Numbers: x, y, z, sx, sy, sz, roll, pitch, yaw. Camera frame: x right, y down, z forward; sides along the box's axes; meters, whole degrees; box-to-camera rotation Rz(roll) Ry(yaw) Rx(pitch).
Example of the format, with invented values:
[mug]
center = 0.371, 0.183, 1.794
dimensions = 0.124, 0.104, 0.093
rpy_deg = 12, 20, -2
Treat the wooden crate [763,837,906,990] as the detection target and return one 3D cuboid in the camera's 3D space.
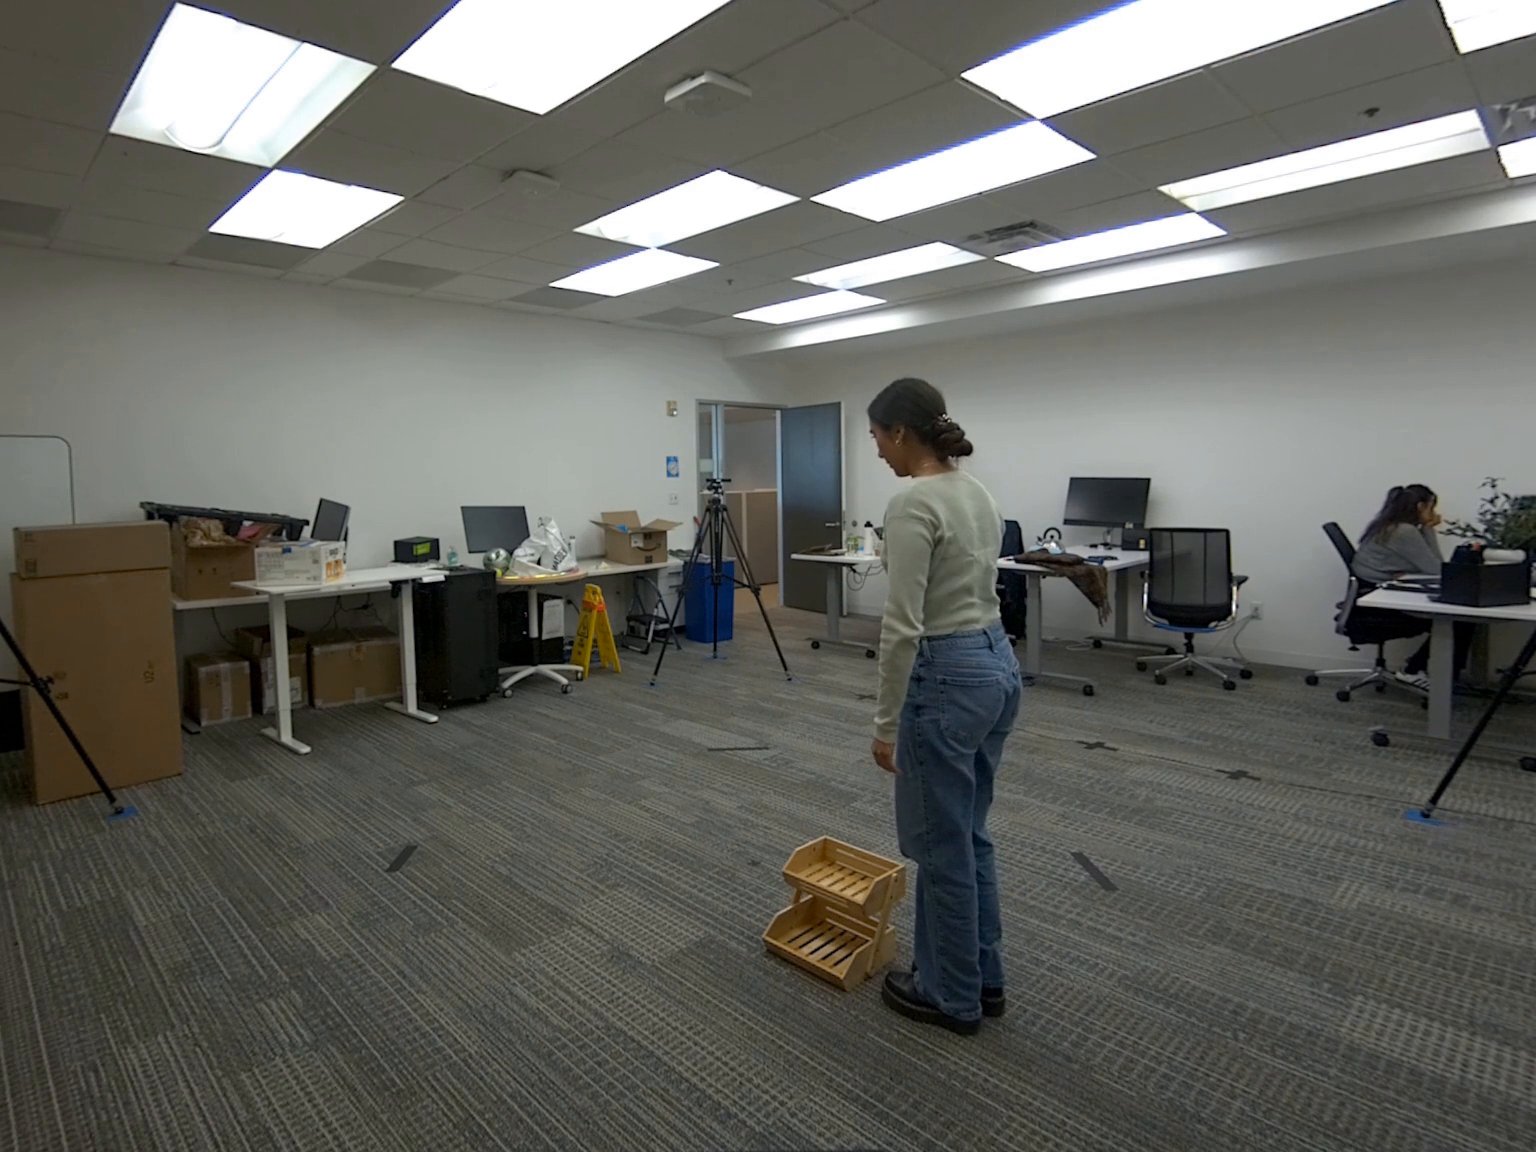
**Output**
[wooden crate]
center = 0.199, 0.976, 2.508
dimensions = 0.334, 0.272, 0.294
rpy_deg = 4, 6, 44
